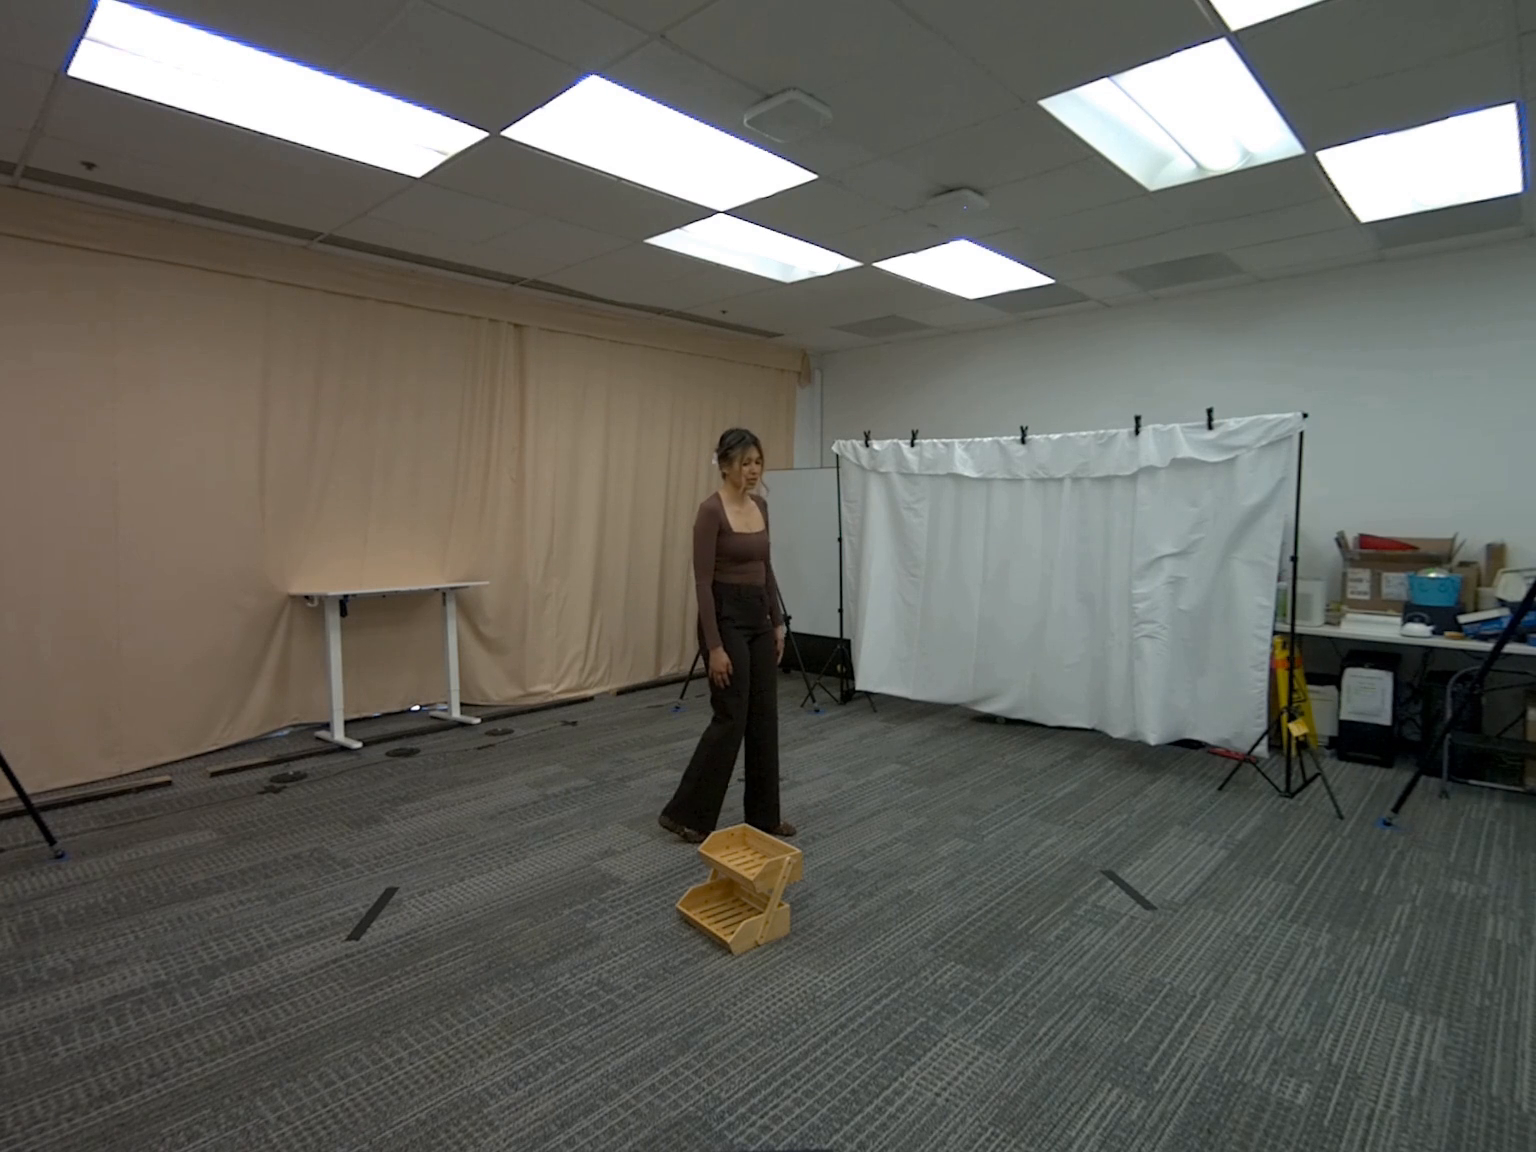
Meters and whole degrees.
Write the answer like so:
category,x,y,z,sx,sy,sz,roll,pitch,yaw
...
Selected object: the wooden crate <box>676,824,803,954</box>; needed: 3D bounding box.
category,x,y,z,sx,sy,sz,roll,pitch,yaw
wooden crate,-0.100,1.022,2.801,0.293,0.273,0.335,-3,5,-39
